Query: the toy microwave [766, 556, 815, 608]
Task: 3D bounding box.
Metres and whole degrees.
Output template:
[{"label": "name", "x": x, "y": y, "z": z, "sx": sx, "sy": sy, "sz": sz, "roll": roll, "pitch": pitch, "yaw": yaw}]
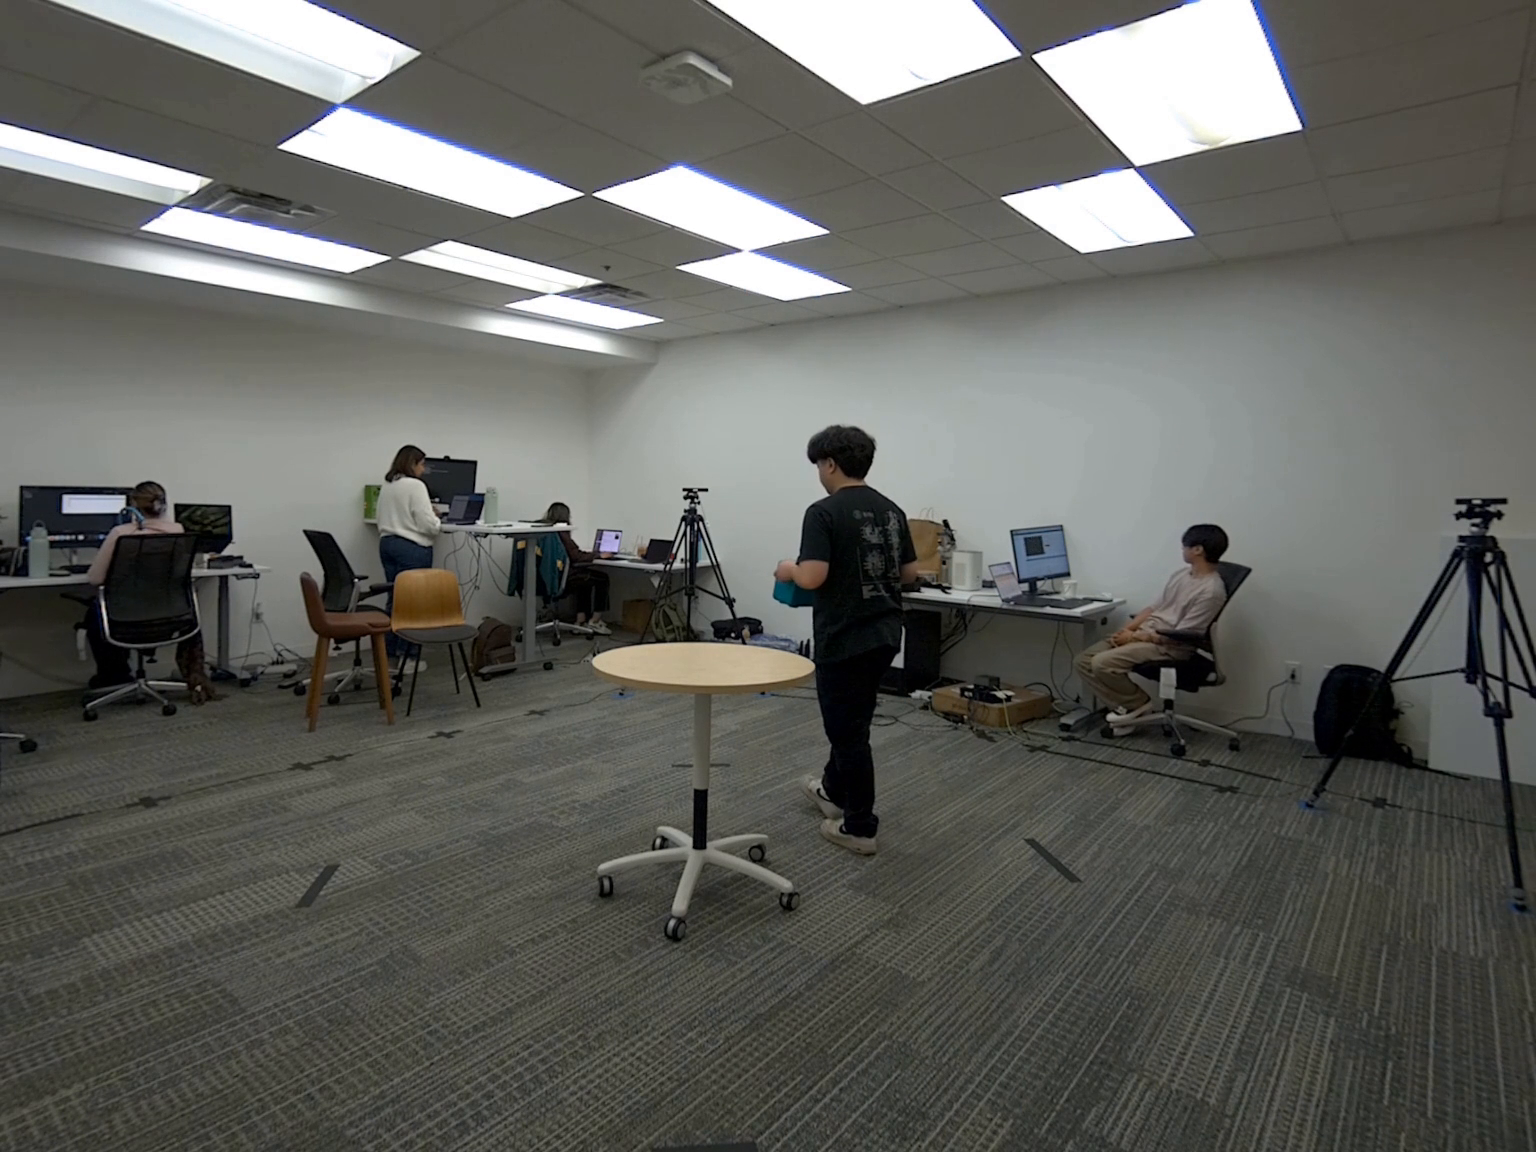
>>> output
[{"label": "toy microwave", "x": 0.163, "y": 0.022, "z": 3.603, "sx": 0.277, "sy": 0.183, "sz": 0.158, "roll": 1, "pitch": 11, "yaw": -38}]
